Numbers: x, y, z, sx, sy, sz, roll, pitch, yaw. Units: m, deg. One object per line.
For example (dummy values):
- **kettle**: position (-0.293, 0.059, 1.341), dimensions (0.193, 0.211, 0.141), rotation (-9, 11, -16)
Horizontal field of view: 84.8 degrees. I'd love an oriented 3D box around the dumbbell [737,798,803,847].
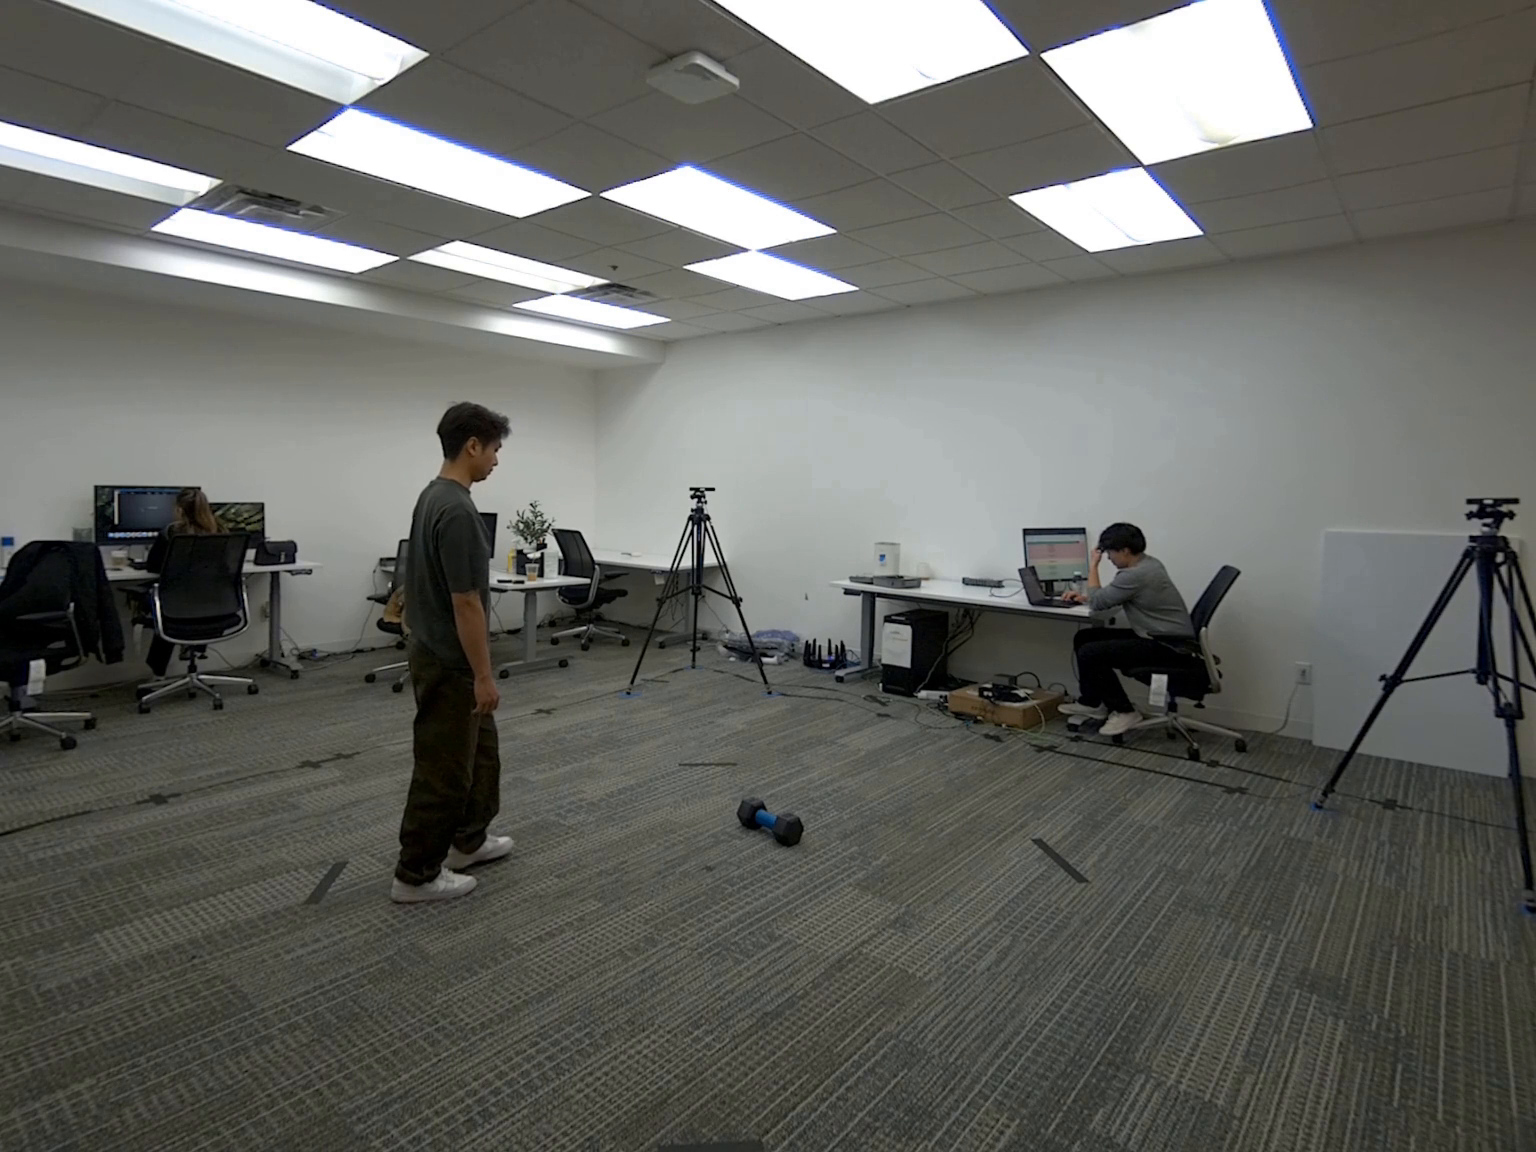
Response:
- **dumbbell**: position (0.001, 0.985, 3.436), dimensions (0.304, 0.124, 0.104), rotation (7, -23, 48)
